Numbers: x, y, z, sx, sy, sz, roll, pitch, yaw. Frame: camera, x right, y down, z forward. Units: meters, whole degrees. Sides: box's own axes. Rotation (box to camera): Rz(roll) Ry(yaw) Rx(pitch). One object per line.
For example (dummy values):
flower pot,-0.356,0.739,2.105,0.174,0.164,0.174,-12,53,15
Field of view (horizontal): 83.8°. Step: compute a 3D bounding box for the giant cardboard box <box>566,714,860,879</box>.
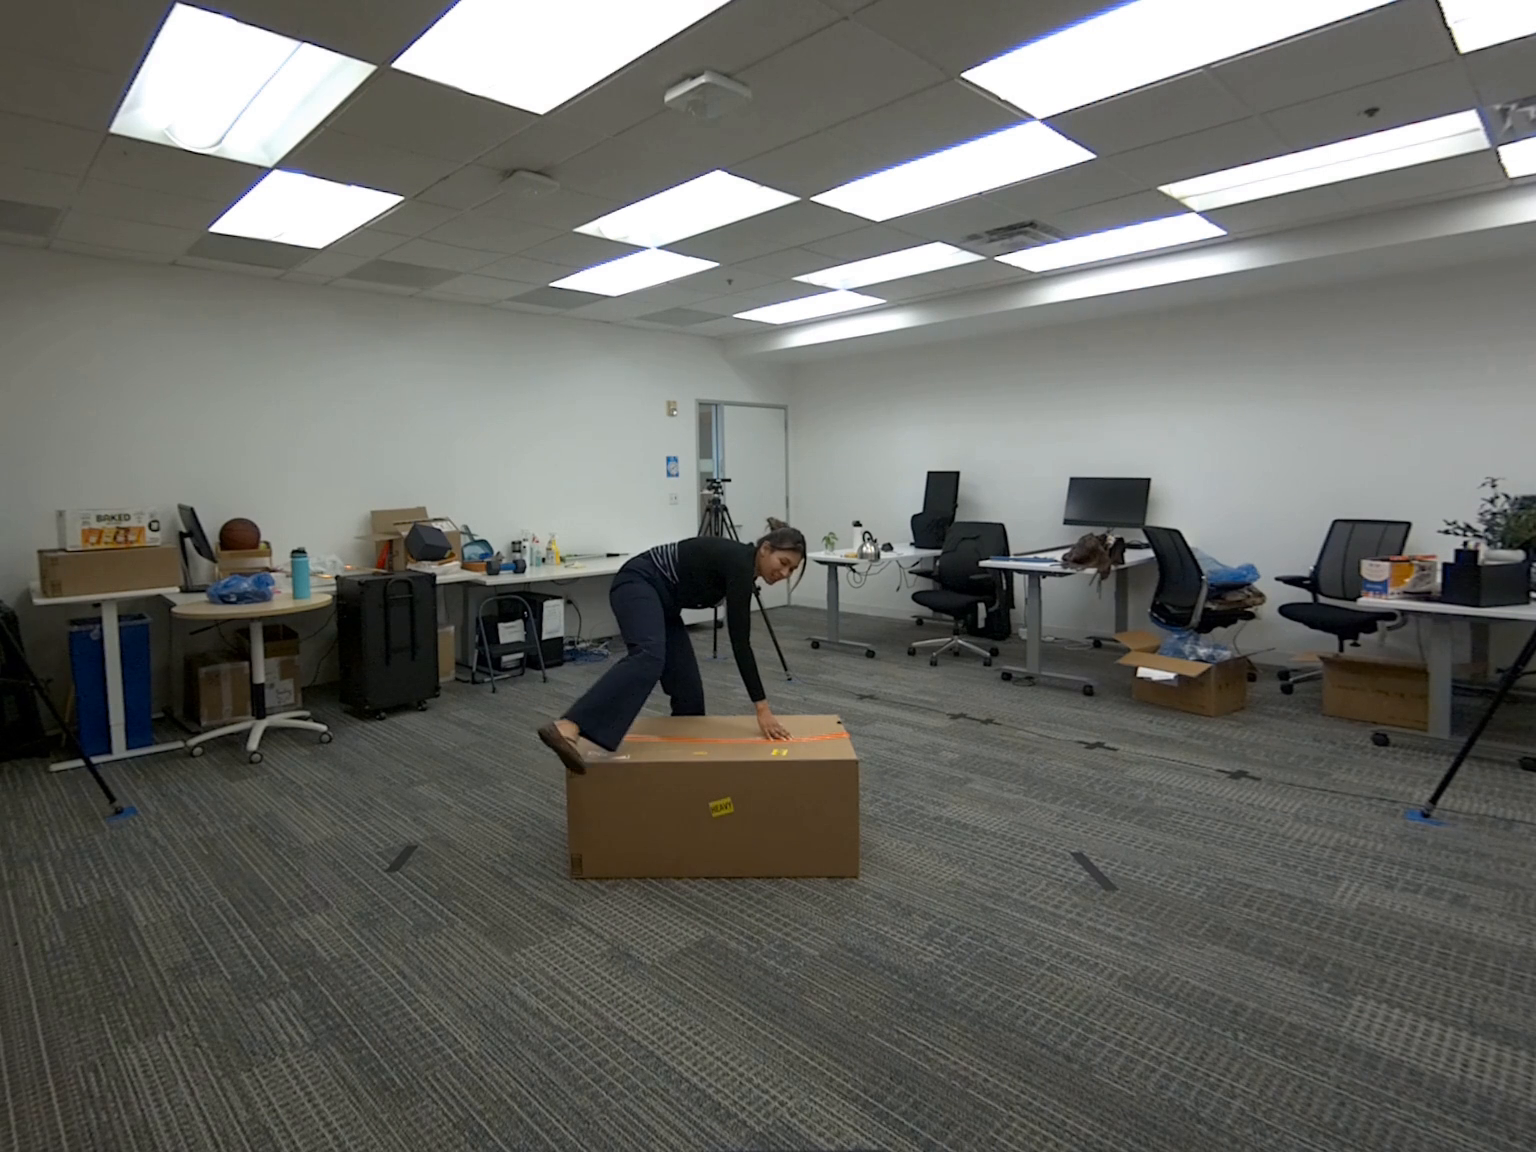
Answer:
giant cardboard box,-0.205,0.818,3.263,1.027,0.424,0.580,-1,6,1
